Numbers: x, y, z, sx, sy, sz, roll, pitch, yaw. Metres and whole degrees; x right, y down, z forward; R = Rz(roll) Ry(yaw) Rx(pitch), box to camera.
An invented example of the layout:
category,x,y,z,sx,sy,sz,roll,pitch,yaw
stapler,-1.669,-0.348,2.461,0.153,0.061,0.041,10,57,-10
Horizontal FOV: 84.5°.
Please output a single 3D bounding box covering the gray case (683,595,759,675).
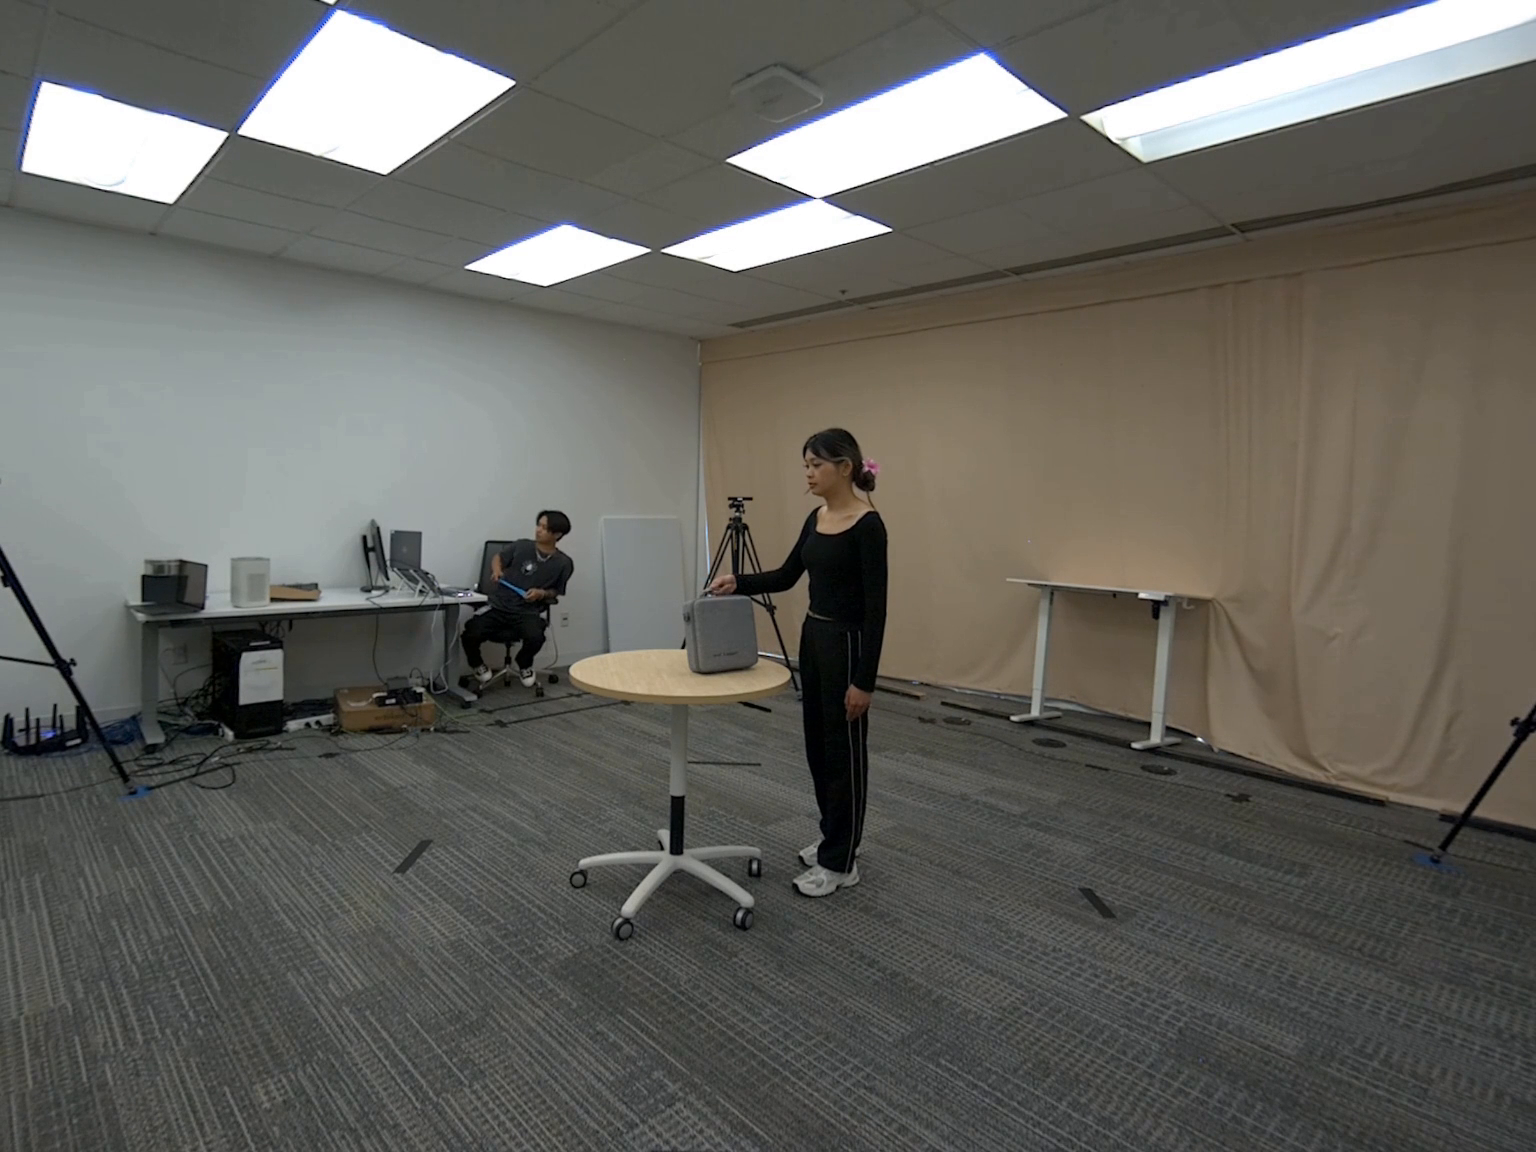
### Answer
category,x,y,z,sx,sy,sz,roll,pitch,yaw
gray case,-0.171,0.198,2.947,0.251,0.262,0.106,-1,-7,-36
